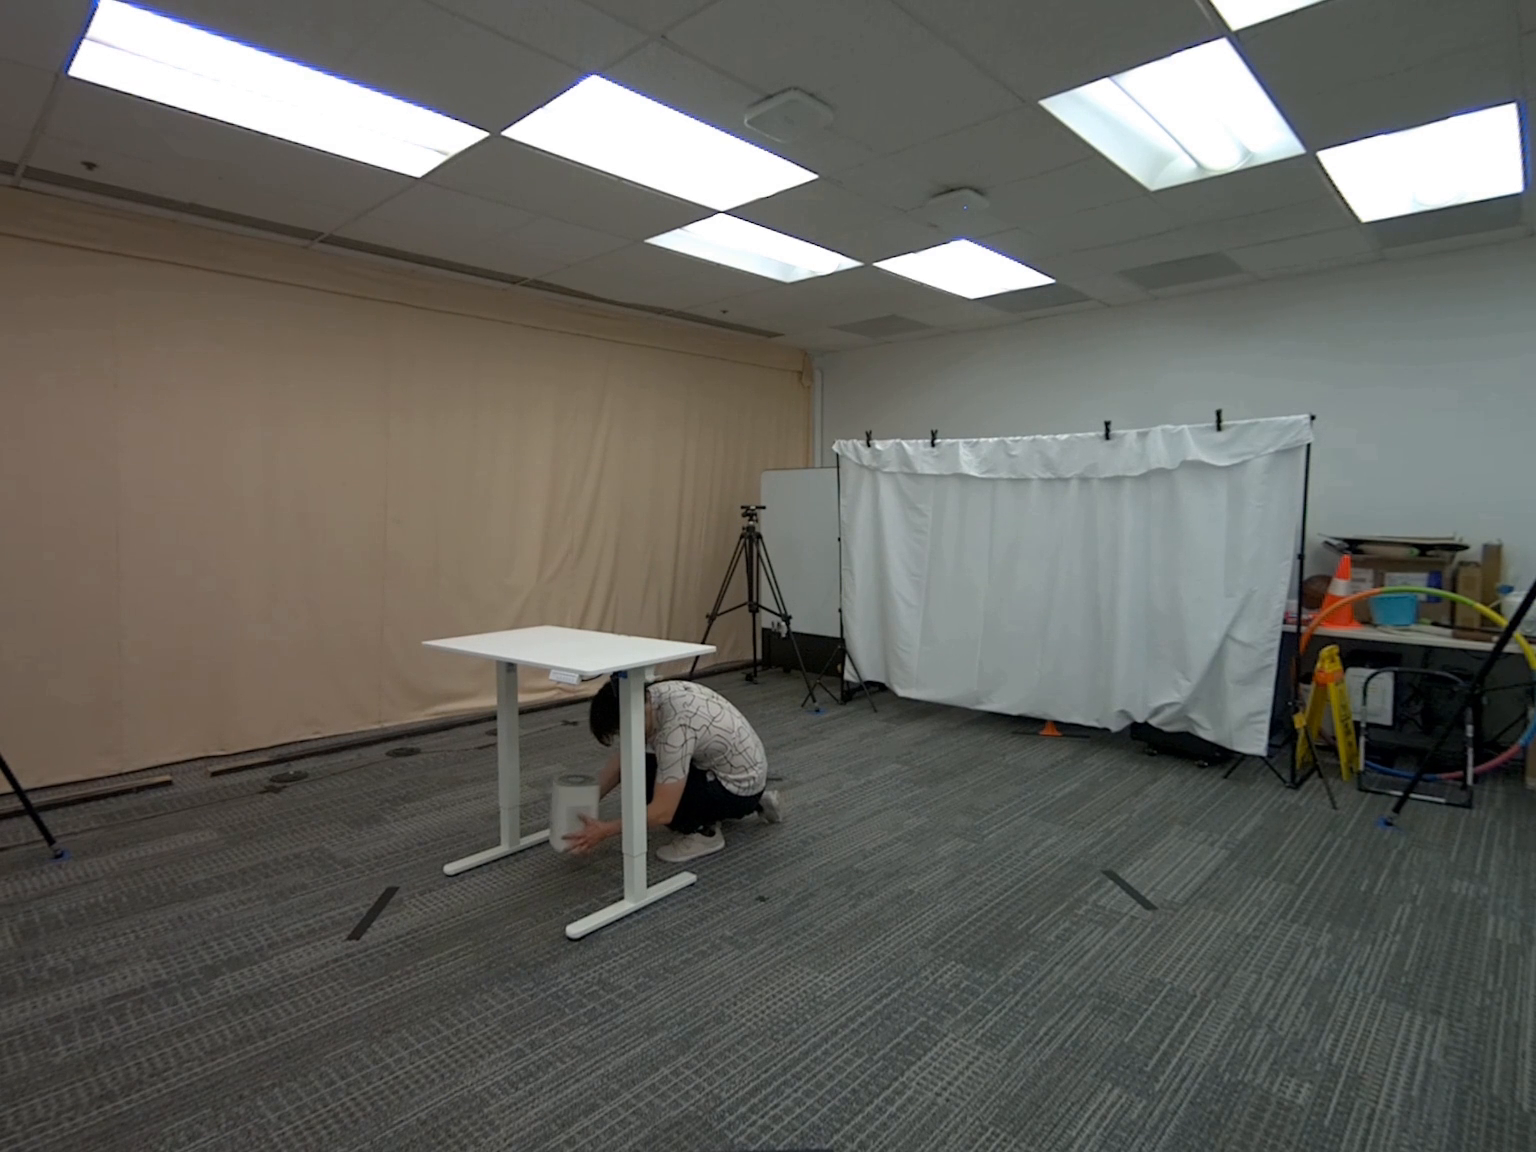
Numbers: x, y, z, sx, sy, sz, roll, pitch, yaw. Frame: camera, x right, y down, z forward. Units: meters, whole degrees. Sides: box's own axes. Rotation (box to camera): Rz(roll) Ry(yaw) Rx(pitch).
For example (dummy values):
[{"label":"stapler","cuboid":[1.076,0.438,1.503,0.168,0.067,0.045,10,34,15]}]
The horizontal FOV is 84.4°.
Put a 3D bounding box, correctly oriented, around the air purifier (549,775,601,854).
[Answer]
[{"label":"air purifier","cuboid":[-0.741,0.912,3.243,0.167,0.265,0.175,3,1,-26]}]
